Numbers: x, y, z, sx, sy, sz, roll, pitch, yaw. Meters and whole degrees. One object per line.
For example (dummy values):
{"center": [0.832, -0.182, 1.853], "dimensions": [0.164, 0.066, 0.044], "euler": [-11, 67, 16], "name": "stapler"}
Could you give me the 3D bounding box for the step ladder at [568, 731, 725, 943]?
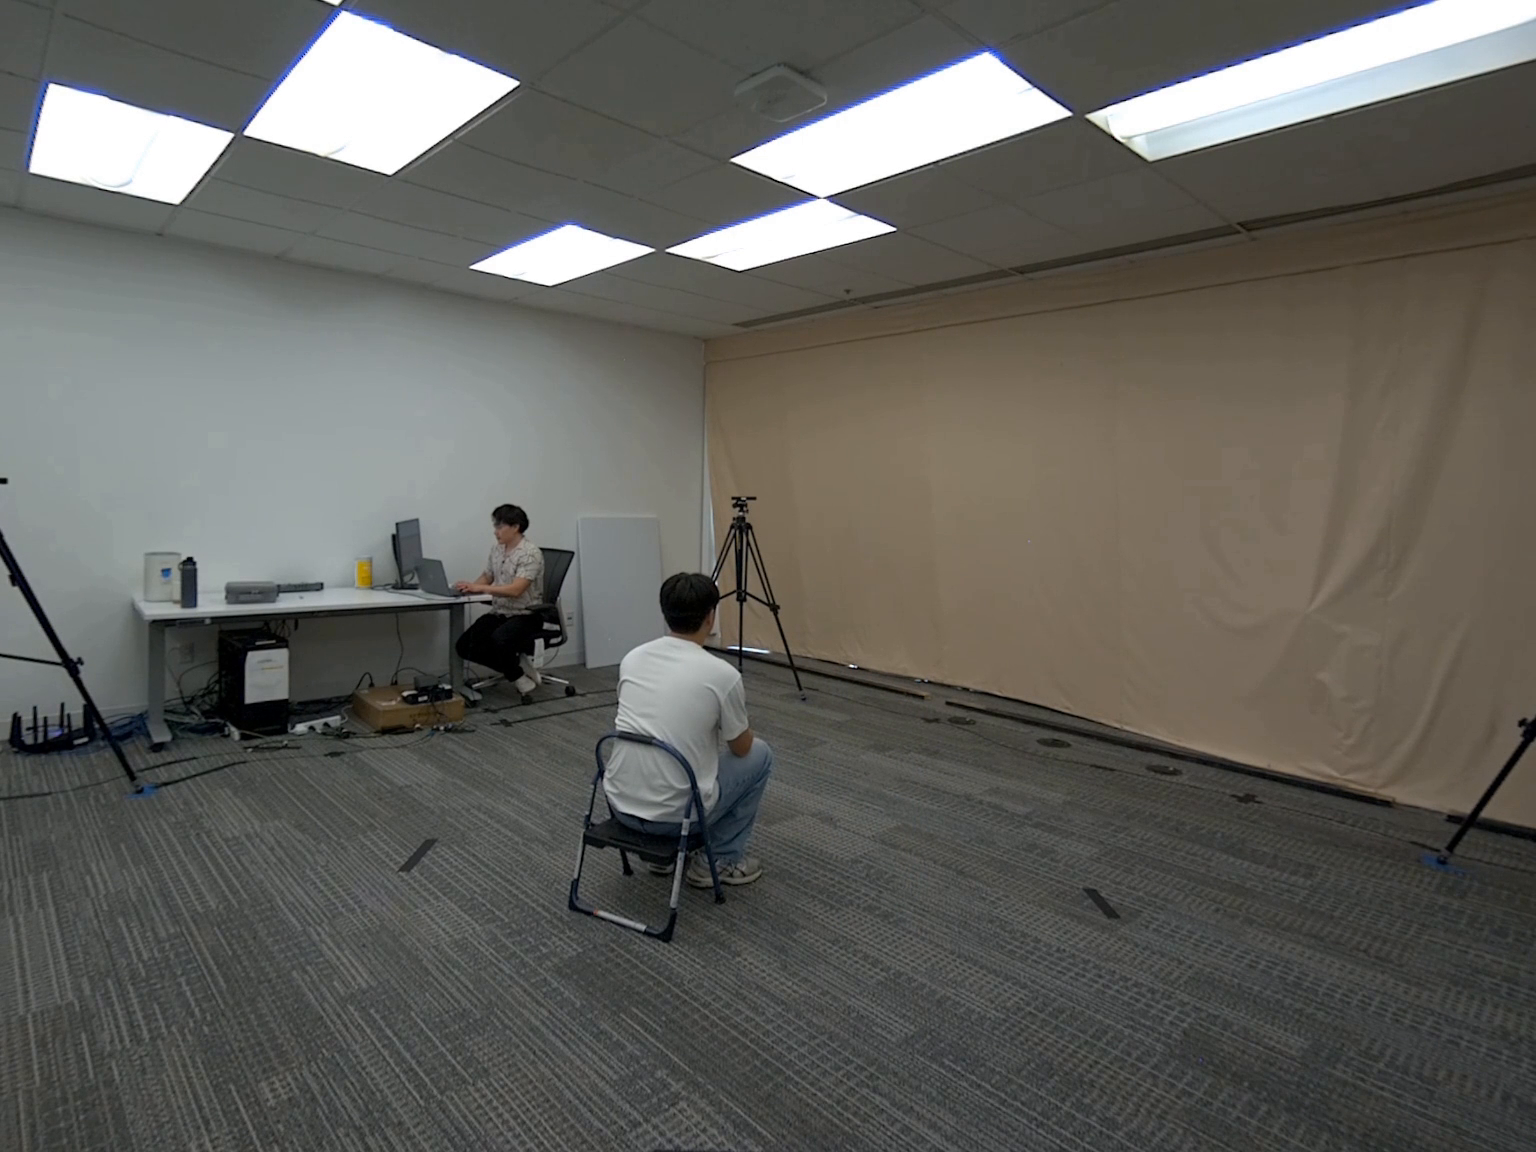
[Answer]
{"center": [-0.419, 0.825, 2.850], "dimensions": [0.440, 0.604, 0.343], "euler": [3, 4, 29], "name": "step ladder"}
